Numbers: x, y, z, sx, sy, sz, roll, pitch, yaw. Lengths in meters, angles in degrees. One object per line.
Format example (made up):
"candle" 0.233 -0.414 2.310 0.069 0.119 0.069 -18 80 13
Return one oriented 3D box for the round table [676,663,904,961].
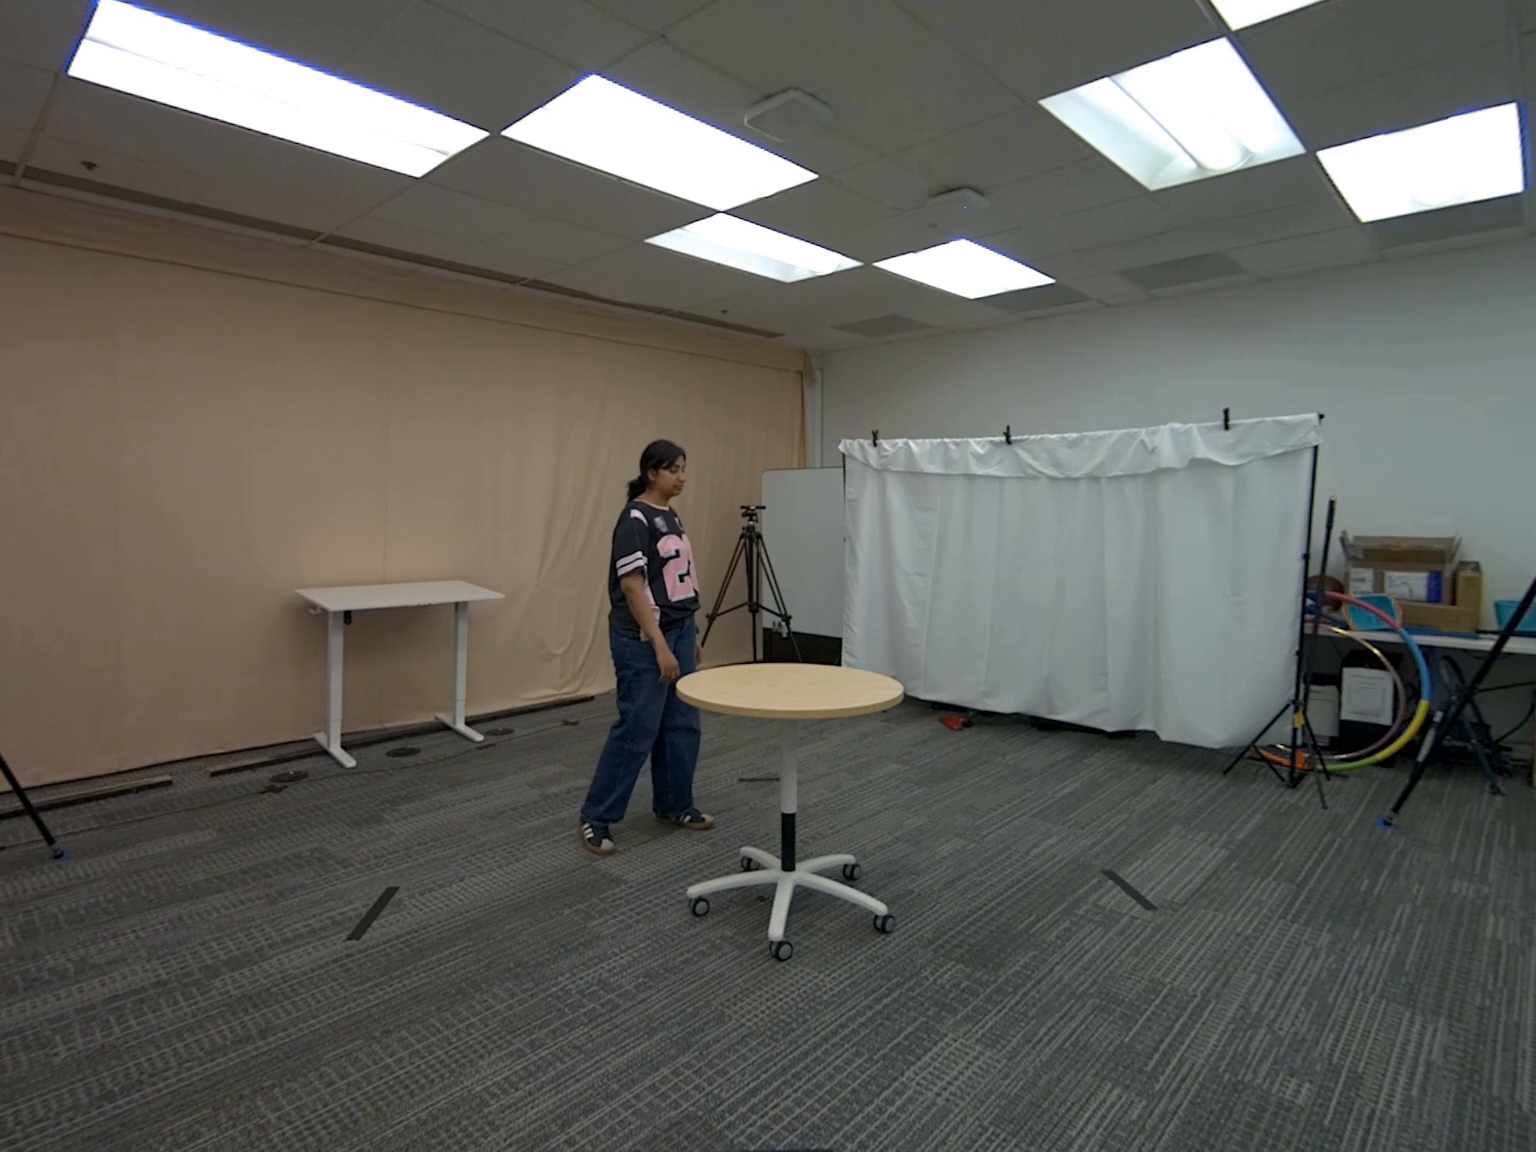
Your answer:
"round table" 0.075 0.762 2.887 0.763 0.792 0.767 0 4 -2
